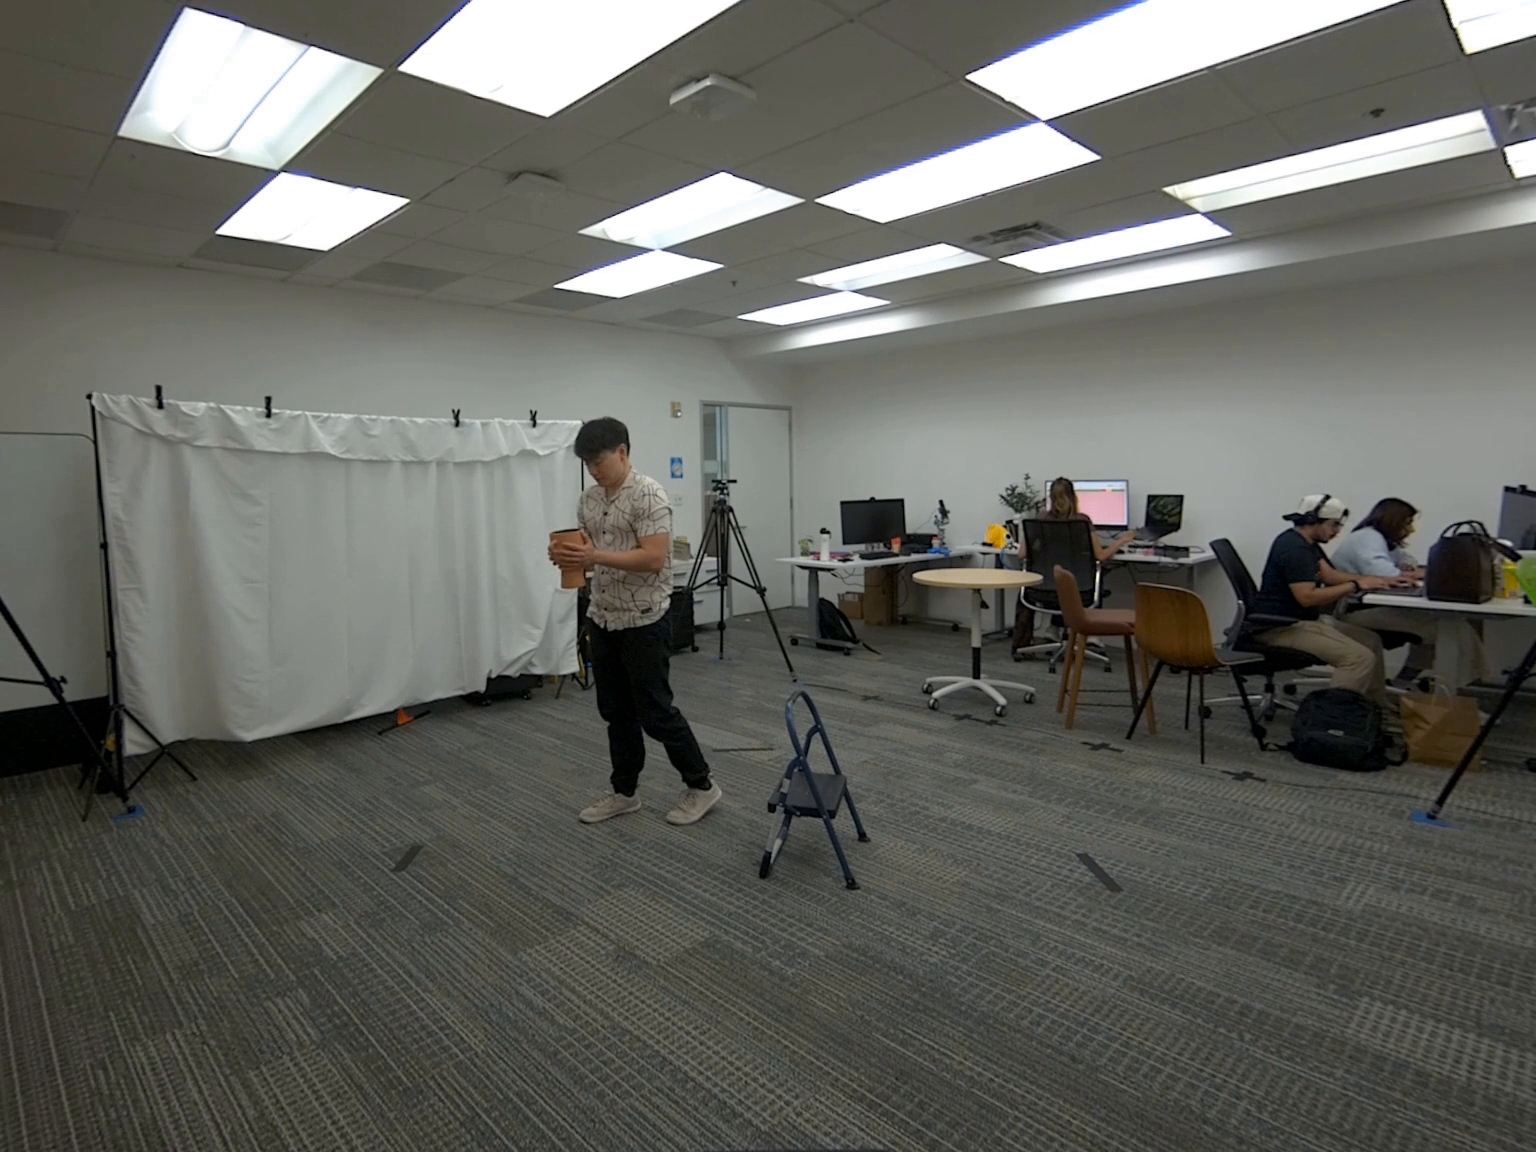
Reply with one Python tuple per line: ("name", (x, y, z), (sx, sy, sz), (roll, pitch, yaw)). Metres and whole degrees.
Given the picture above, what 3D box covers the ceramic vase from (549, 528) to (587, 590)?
("ceramic vase", (-0.781, -0.065, 3.352), (0.157, 0.218, 0.137), (-9, 7, -15))
